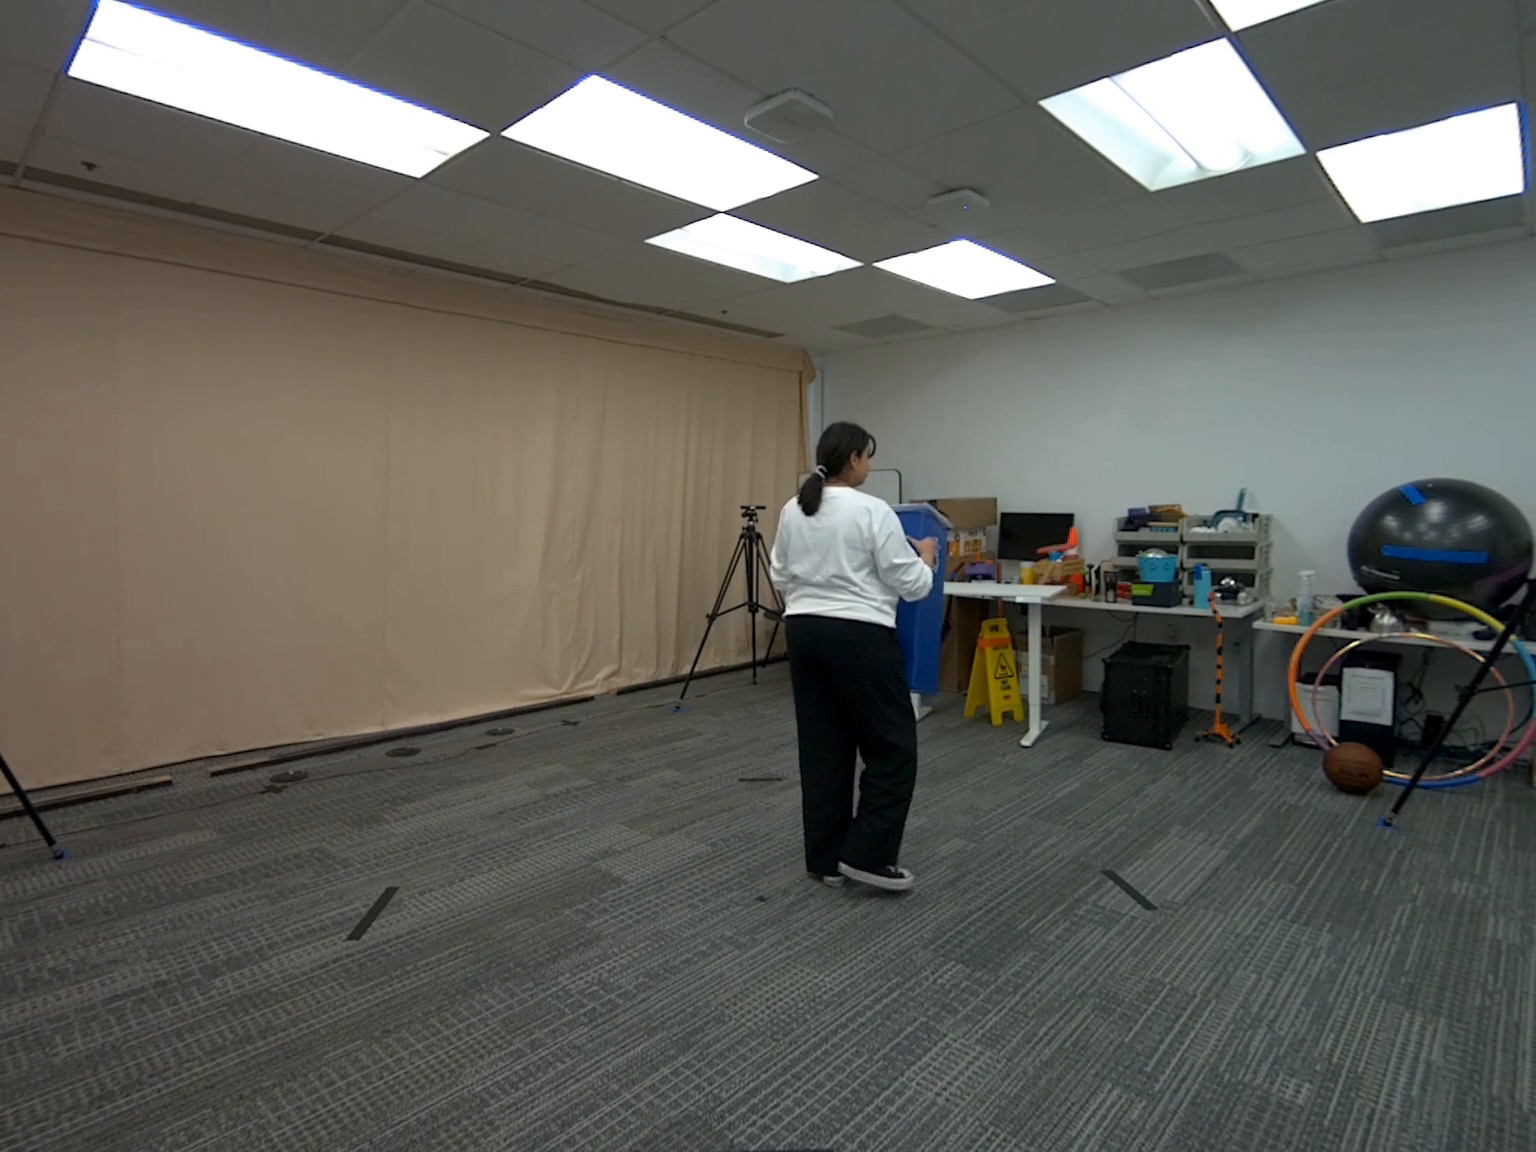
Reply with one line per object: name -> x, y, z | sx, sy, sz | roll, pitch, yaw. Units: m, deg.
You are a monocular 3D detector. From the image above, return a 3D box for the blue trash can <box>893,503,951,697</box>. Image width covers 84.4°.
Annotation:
blue trash can -> 0.523, 0.105, 3.428 | 0.388, 0.718, 0.362 | -1, -12, 27
